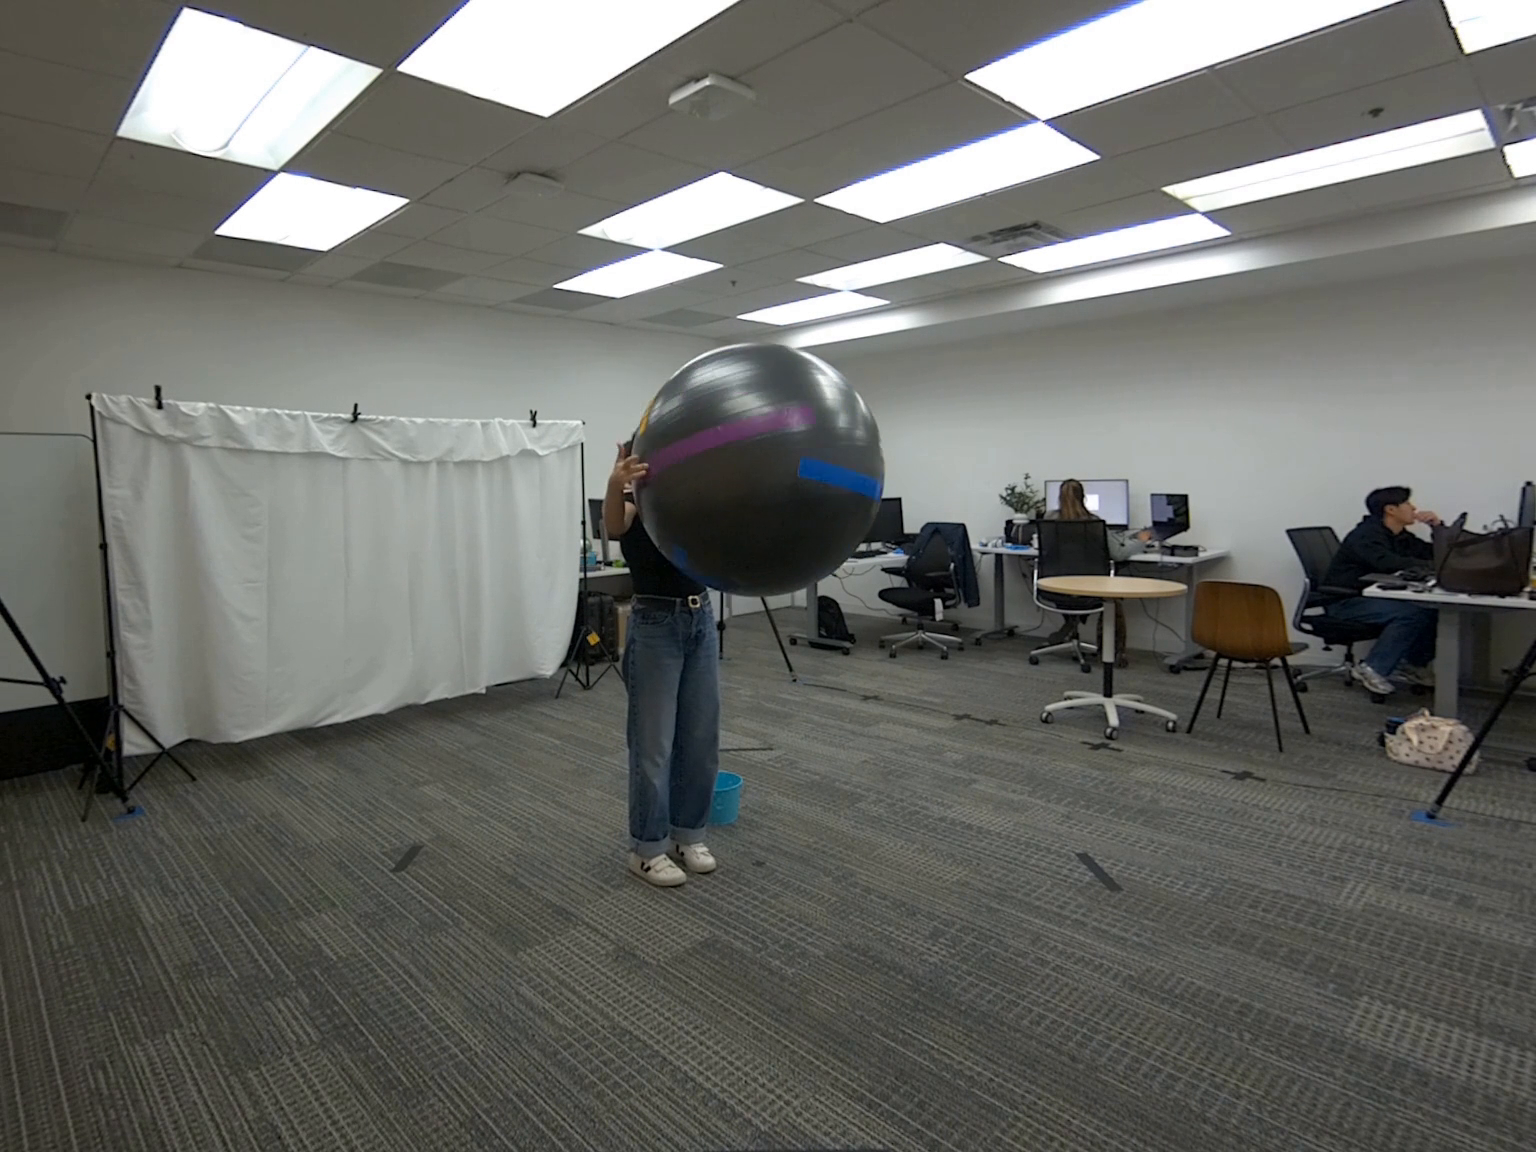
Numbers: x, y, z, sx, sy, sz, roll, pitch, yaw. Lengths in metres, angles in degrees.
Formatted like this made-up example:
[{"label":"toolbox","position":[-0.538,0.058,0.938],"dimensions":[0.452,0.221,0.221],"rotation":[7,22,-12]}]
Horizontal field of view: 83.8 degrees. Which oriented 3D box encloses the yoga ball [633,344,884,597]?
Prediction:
[{"label":"yoga ball","position":[-0.032,-0.313,2.571],"dimensions":[0.757,0.755,0.762],"rotation":[-1,5,-2]}]
